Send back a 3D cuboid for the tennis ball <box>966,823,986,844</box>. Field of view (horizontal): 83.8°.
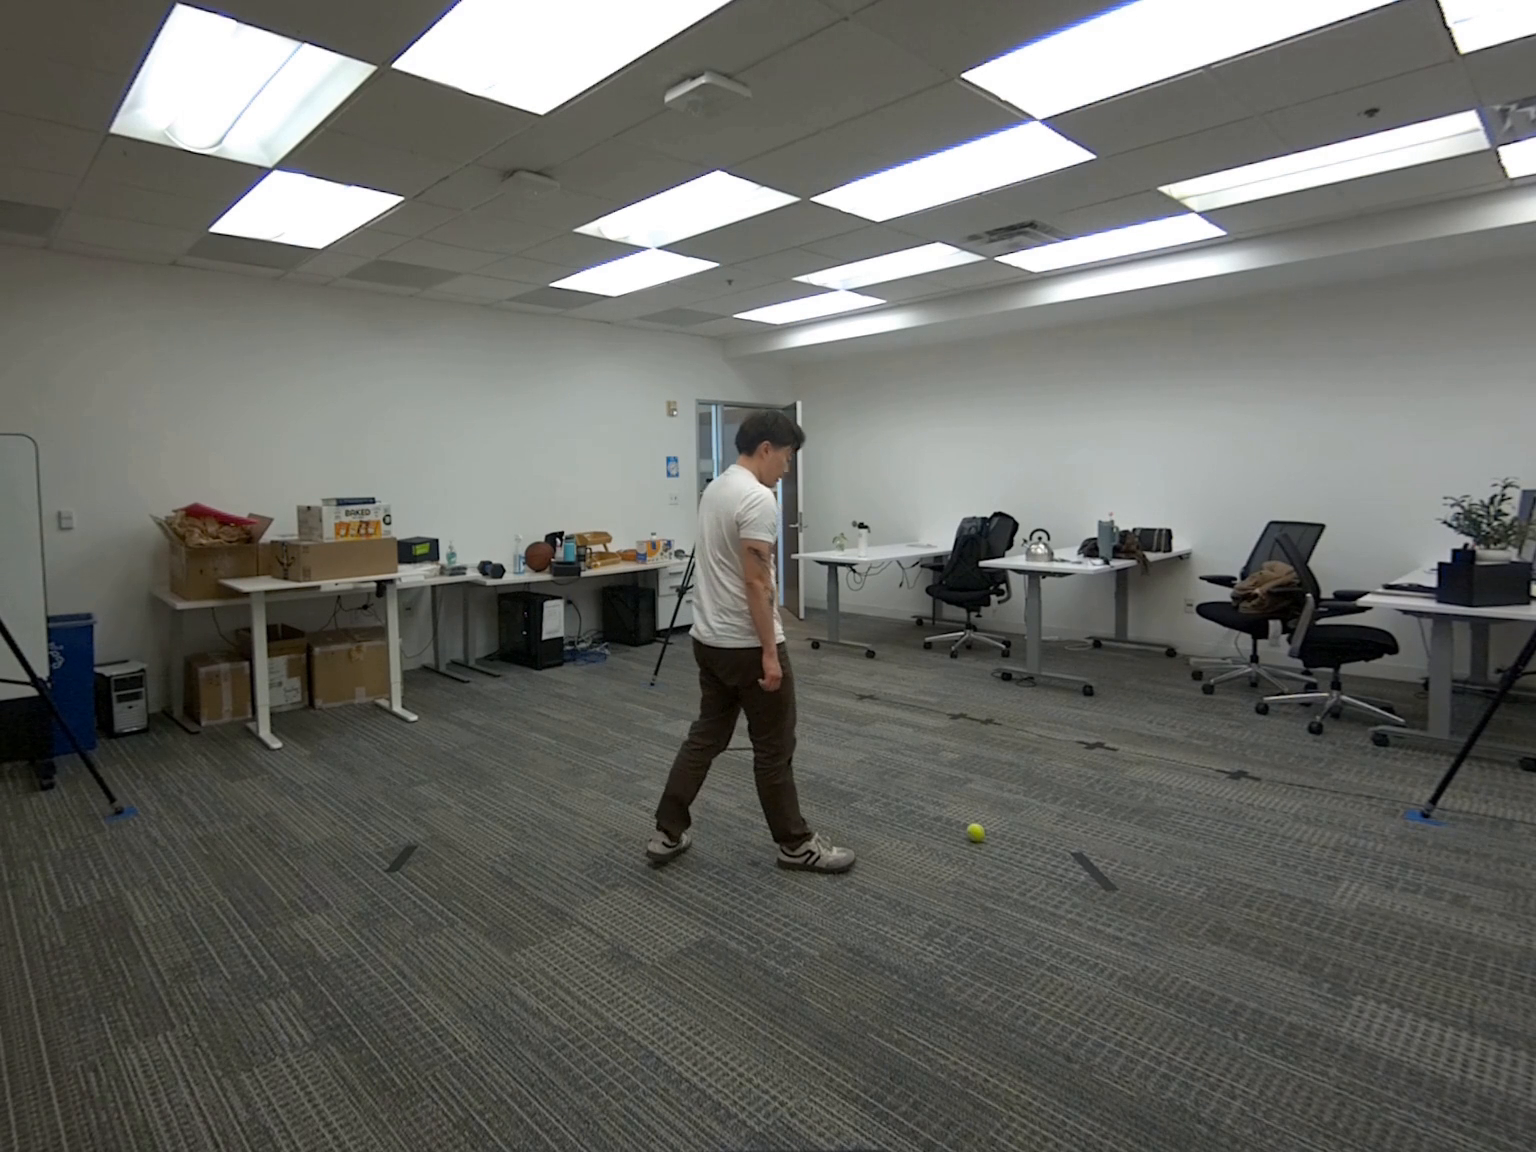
[{"bbox_3d":[0.798,0.970,3.259,0.066,0.066,0.067,-1,5,-2],"label":"tennis ball"}]
